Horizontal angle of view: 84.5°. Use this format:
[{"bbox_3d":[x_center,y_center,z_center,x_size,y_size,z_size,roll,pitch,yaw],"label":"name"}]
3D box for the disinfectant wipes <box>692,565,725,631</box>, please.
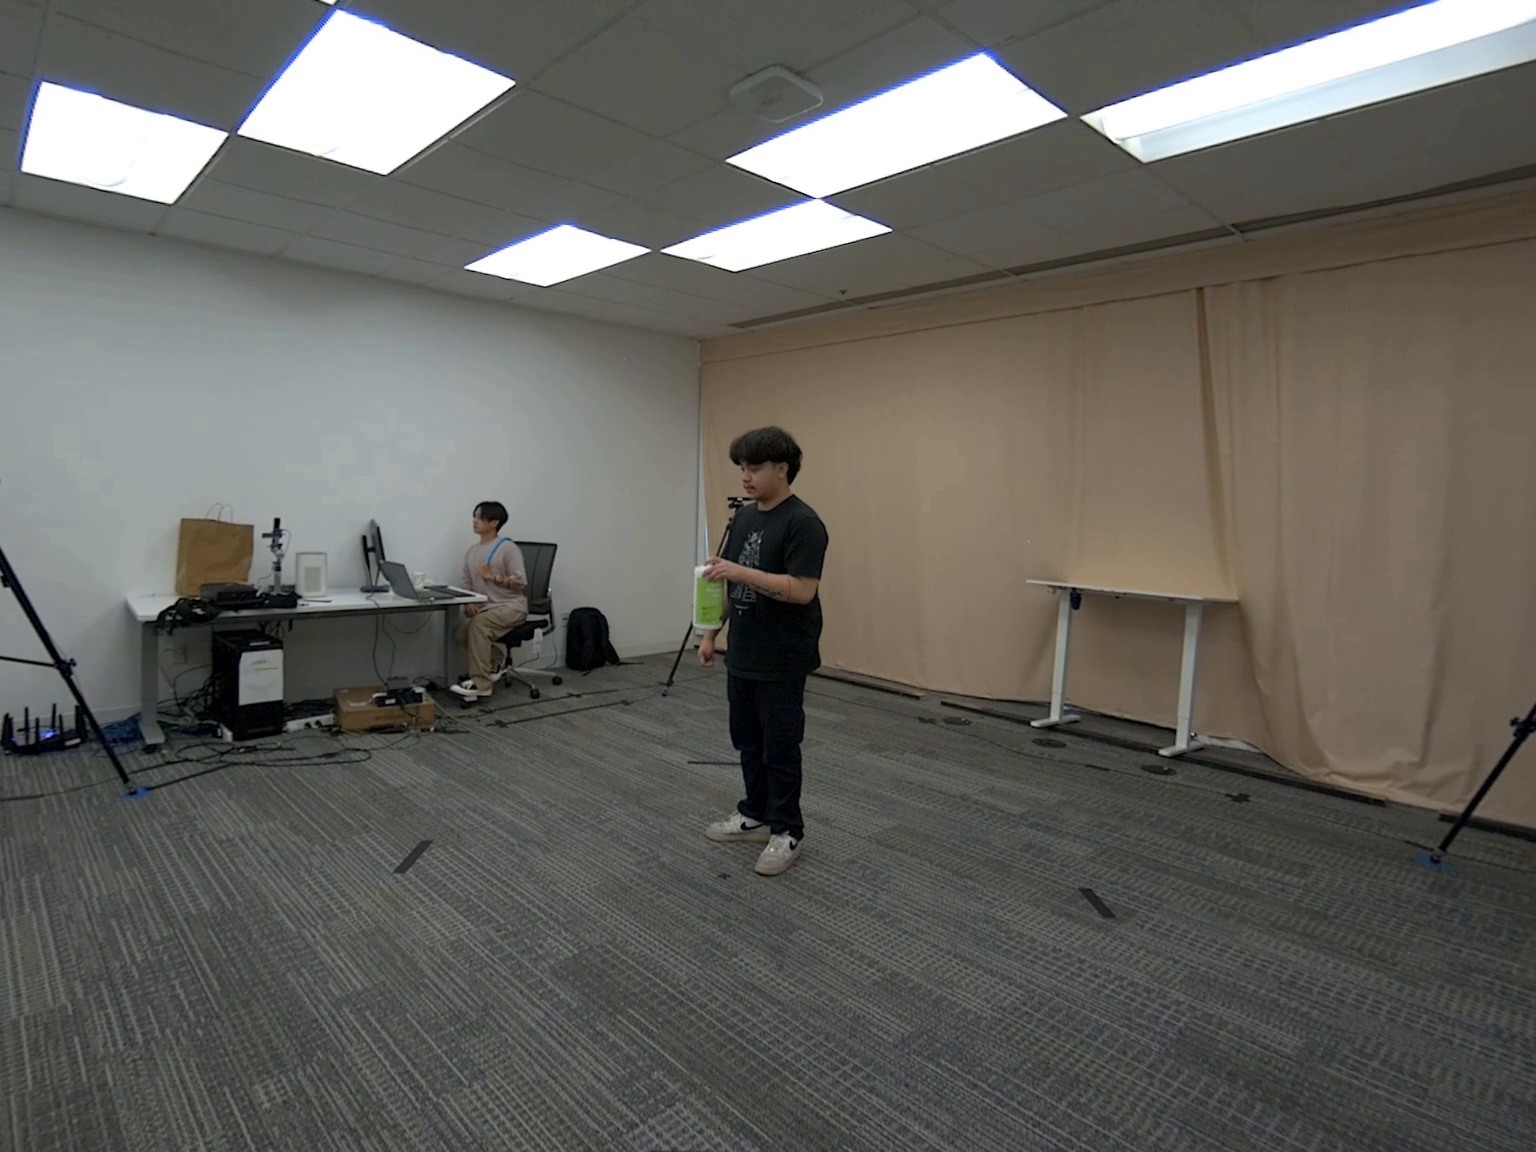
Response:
[{"bbox_3d":[-0.224,0.079,3.001,0.117,0.216,0.118,3,8,-2],"label":"disinfectant wipes"}]
